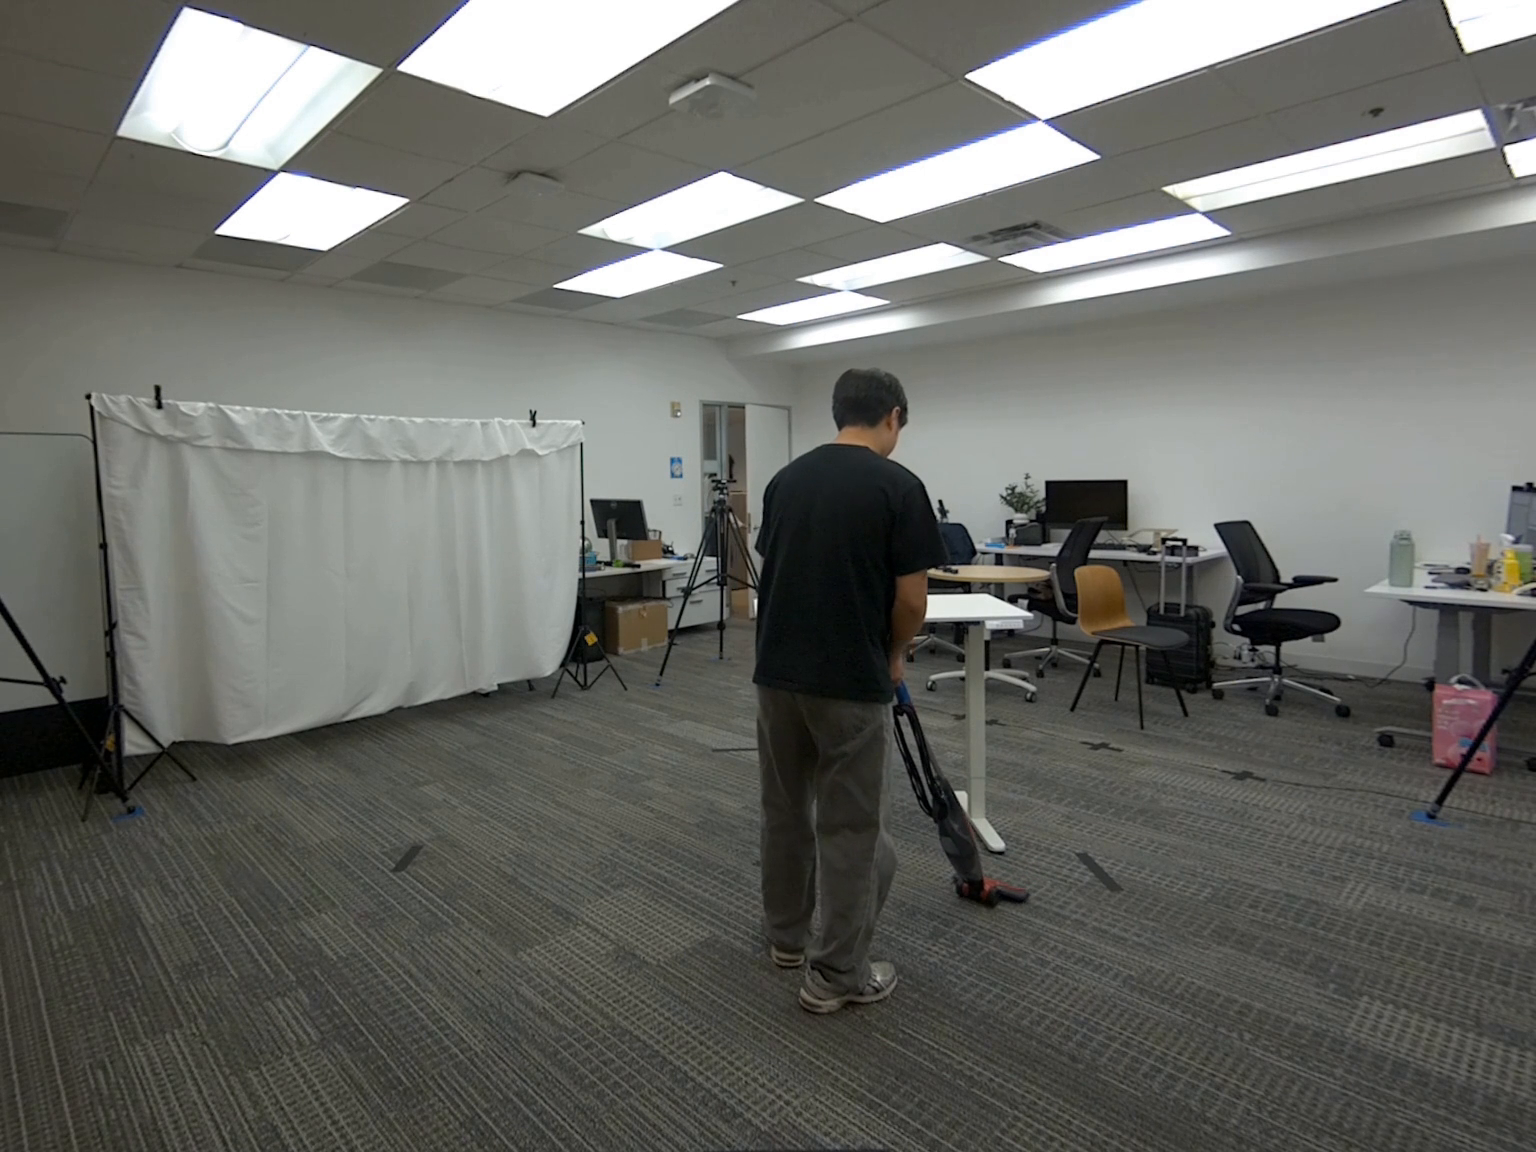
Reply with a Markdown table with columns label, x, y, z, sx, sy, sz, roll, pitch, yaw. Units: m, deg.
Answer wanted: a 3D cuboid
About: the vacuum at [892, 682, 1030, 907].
| label | x | y | z | sx | sy | sz | roll | pitch | yaw |
| --- | --- | --- | --- | --- | --- | --- | --- | --- | --- |
| vacuum | 0.523 | 0.656 | 2.616 | 0.260 | 1.018 | 0.144 | -1 | 37 | 40 |
